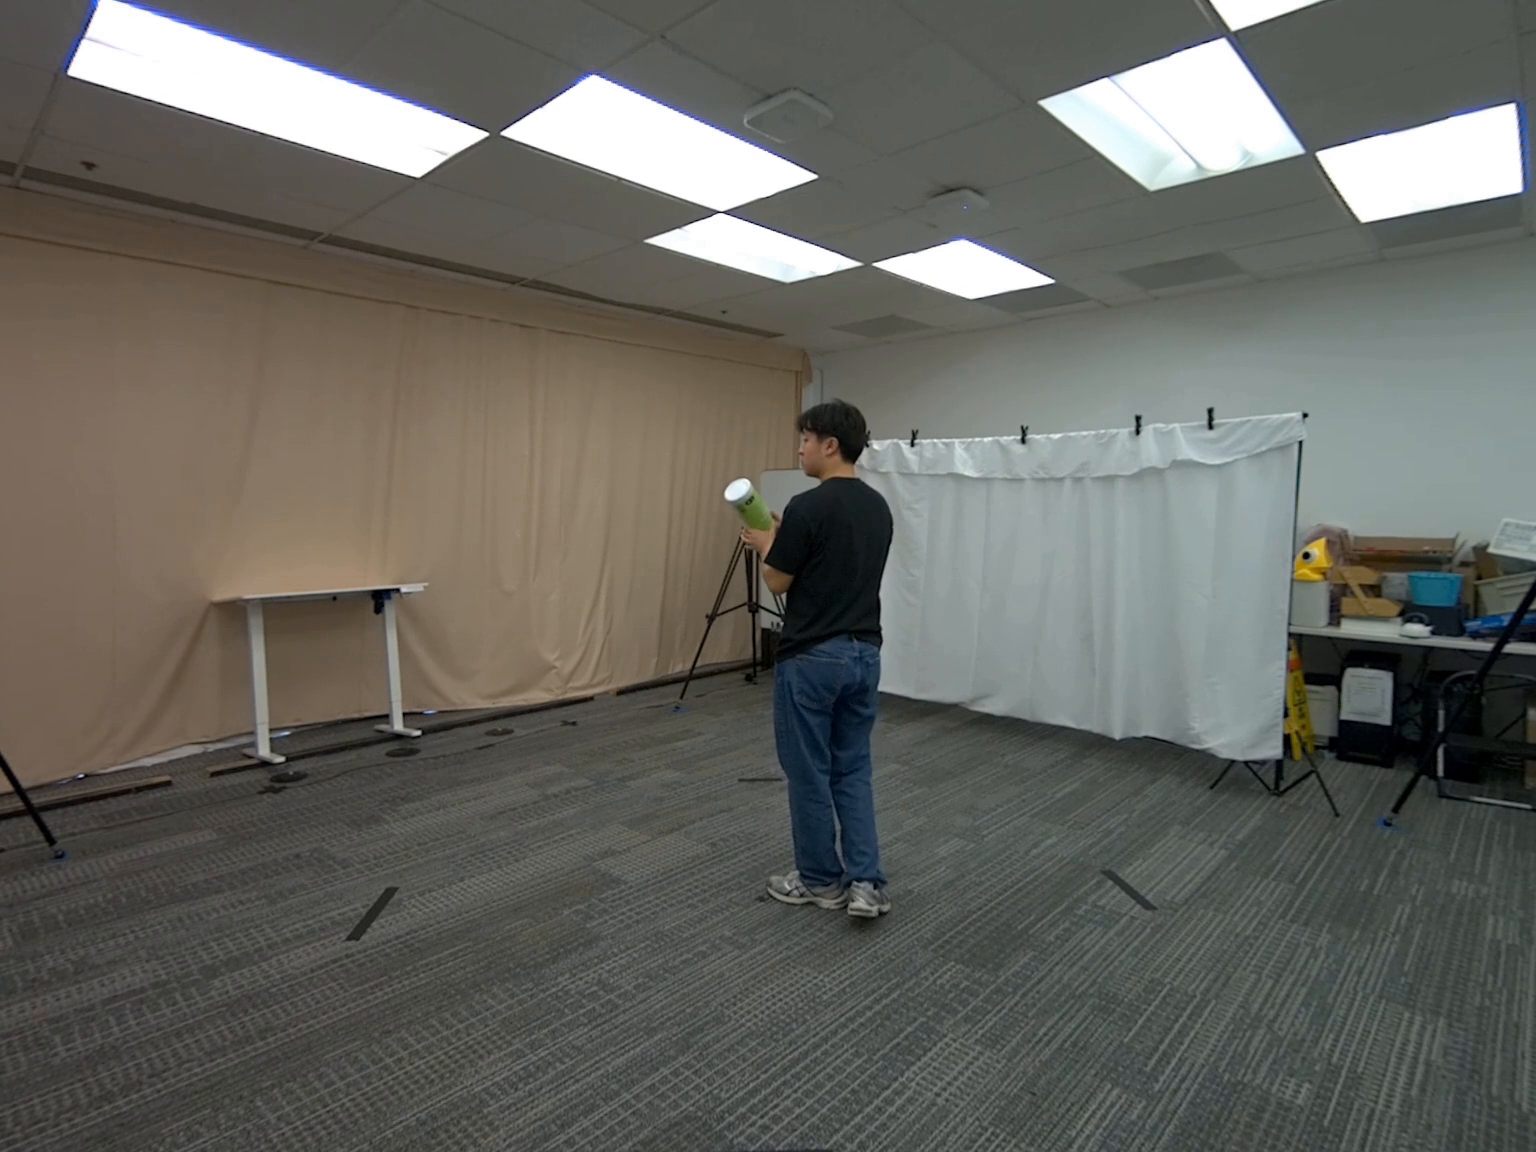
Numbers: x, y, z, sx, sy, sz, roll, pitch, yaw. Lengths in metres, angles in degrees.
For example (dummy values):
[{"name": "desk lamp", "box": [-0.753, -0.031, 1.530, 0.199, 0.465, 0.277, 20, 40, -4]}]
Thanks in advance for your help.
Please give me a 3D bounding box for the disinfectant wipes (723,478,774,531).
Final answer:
[{"name": "disinfectant wipes", "box": [-0.067, -0.247, 3.104, 0.121, 0.118, 0.210, 3, -36, 38]}]
